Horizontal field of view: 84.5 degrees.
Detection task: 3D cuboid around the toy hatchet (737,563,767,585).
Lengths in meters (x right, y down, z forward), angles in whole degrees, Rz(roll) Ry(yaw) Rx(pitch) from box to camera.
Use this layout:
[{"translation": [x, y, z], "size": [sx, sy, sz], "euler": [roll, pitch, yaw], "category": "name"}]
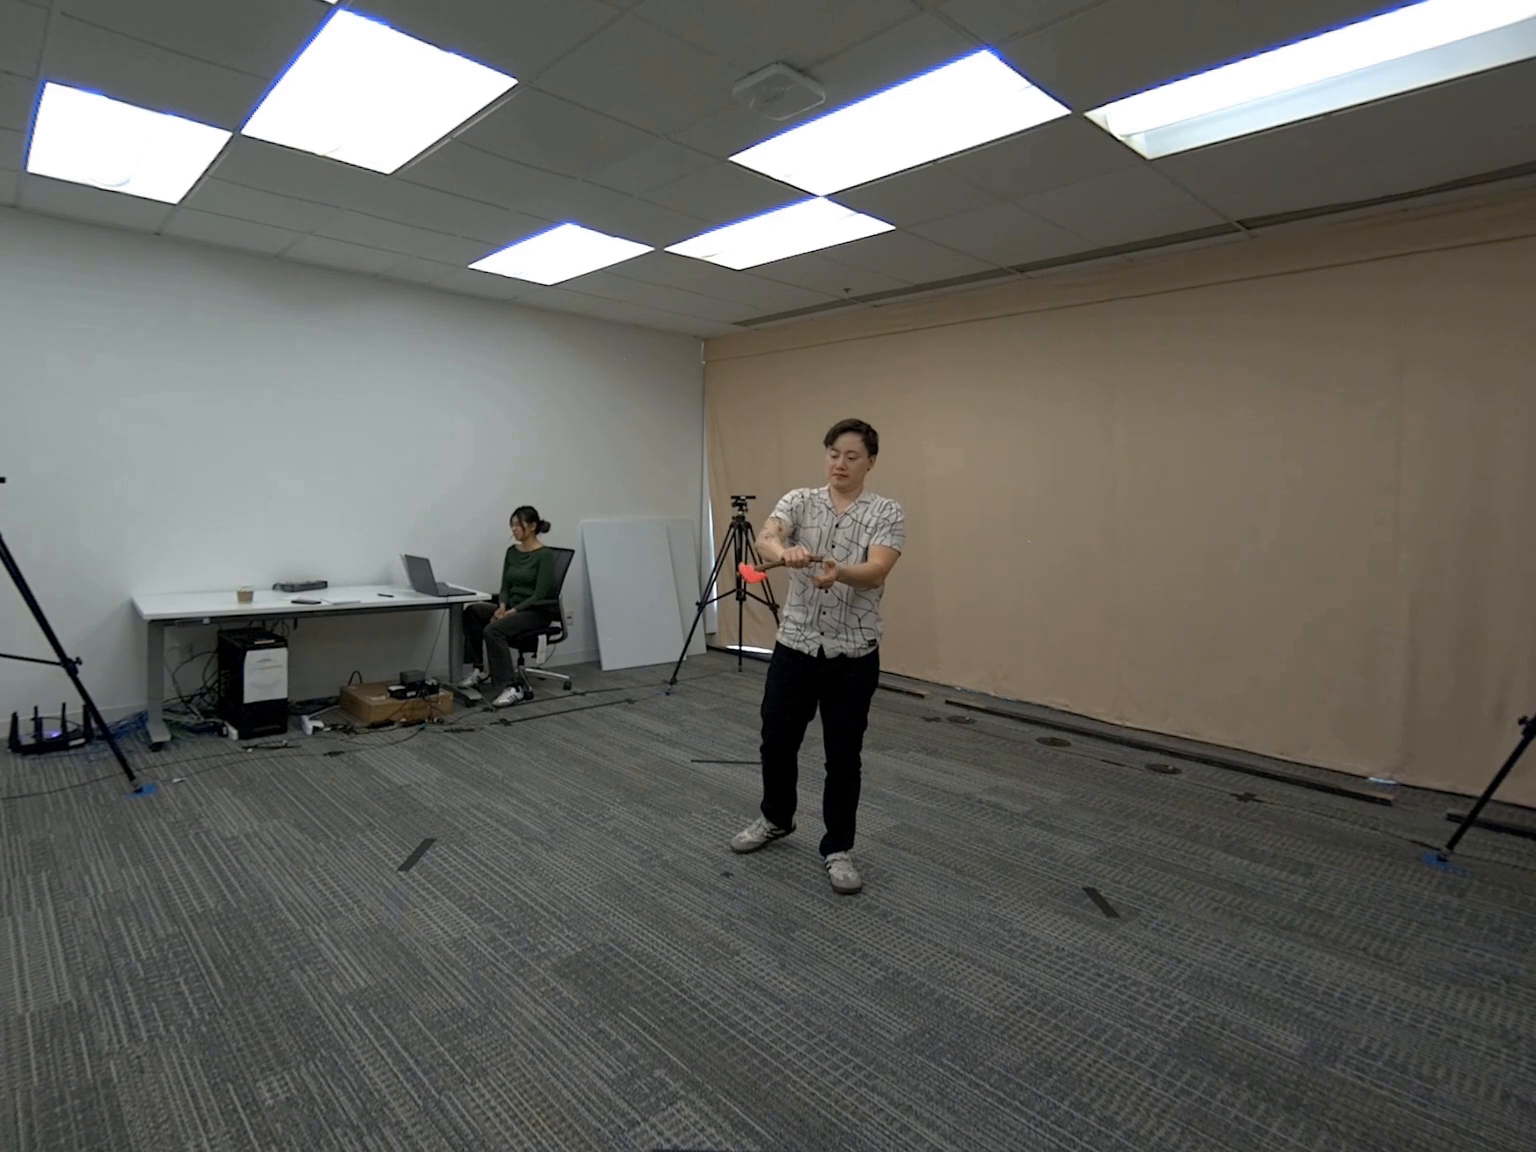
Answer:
[{"translation": [0.051, -0.008, 2.628], "size": [0.272, 0.029, 0.131], "euler": [1, 19, 10], "category": "toy hatchet"}]
